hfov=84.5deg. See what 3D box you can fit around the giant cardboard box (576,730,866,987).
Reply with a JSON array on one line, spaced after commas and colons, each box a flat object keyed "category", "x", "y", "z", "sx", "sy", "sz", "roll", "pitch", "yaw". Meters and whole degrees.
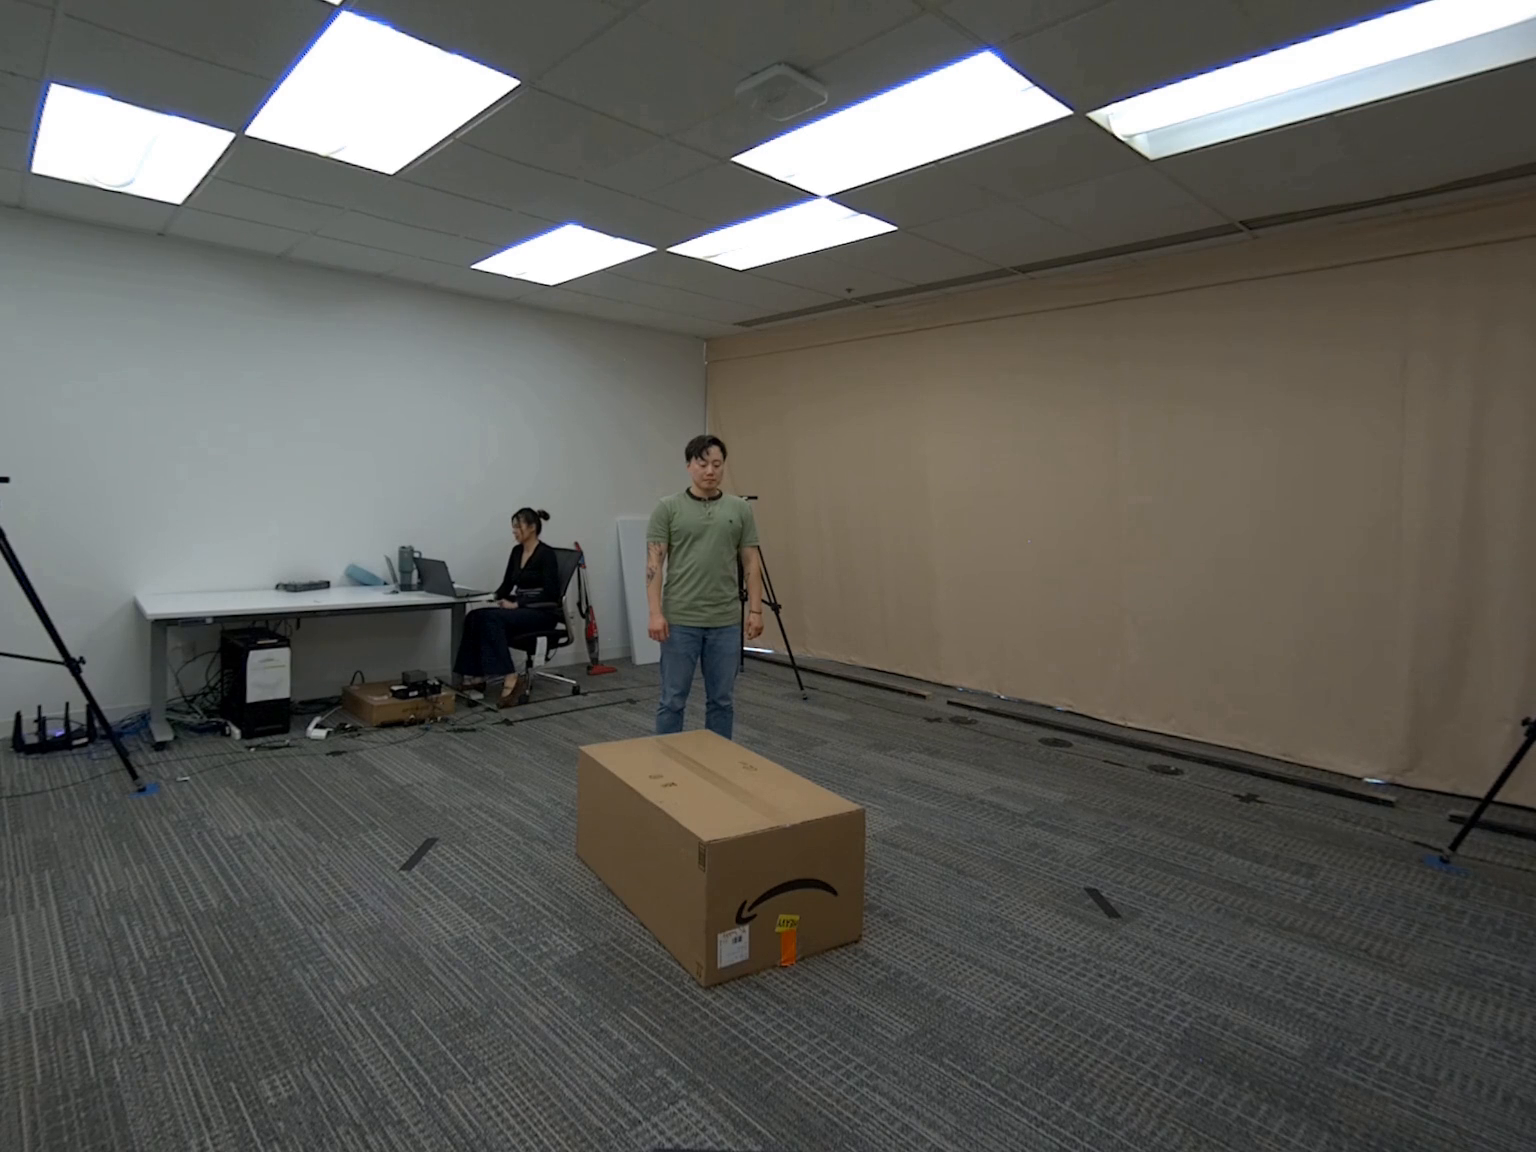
[{"category": "giant cardboard box", "x": -0.219, "y": 0.905, "z": 2.939, "sx": 0.565, "sy": 0.425, "sz": 1.050, "roll": -1, "pitch": 6, "yaw": -32}]
